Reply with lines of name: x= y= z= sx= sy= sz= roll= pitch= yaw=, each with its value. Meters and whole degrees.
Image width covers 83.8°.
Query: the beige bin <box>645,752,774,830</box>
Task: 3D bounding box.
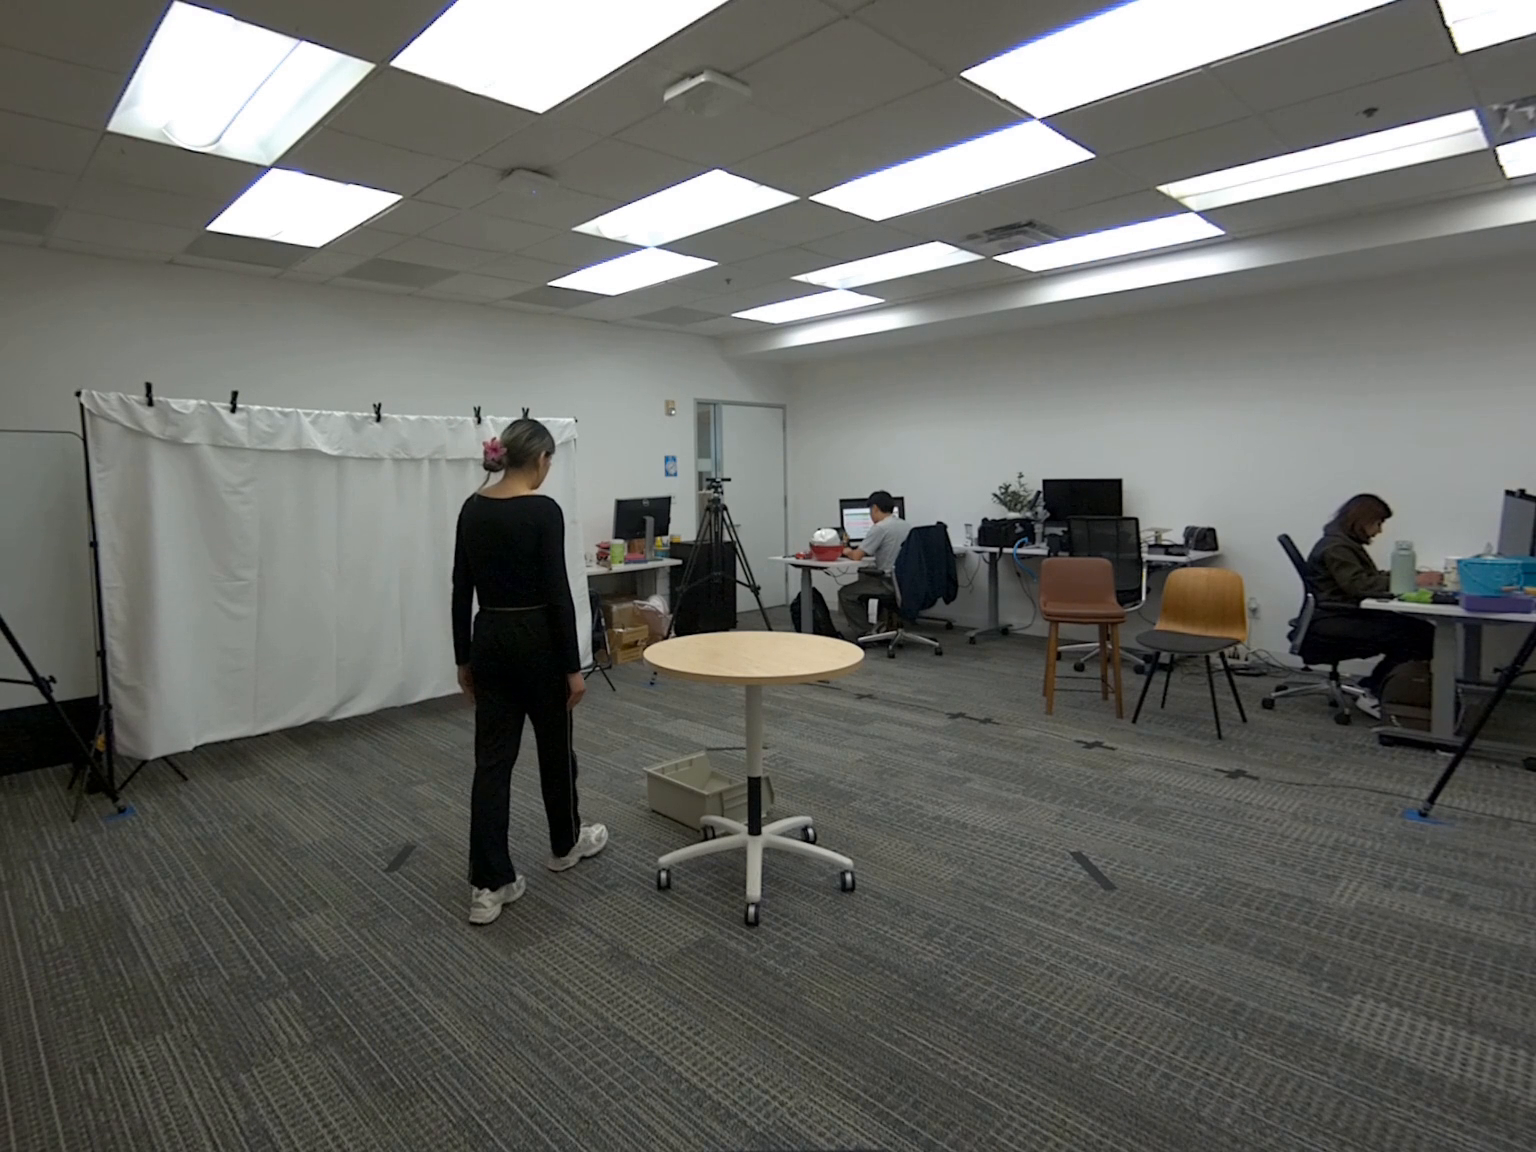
beige bin: x=-0.246 y=0.905 z=3.591 sx=0.368 sy=0.188 sz=0.435 roll=-7 pitch=9 yaw=-43
